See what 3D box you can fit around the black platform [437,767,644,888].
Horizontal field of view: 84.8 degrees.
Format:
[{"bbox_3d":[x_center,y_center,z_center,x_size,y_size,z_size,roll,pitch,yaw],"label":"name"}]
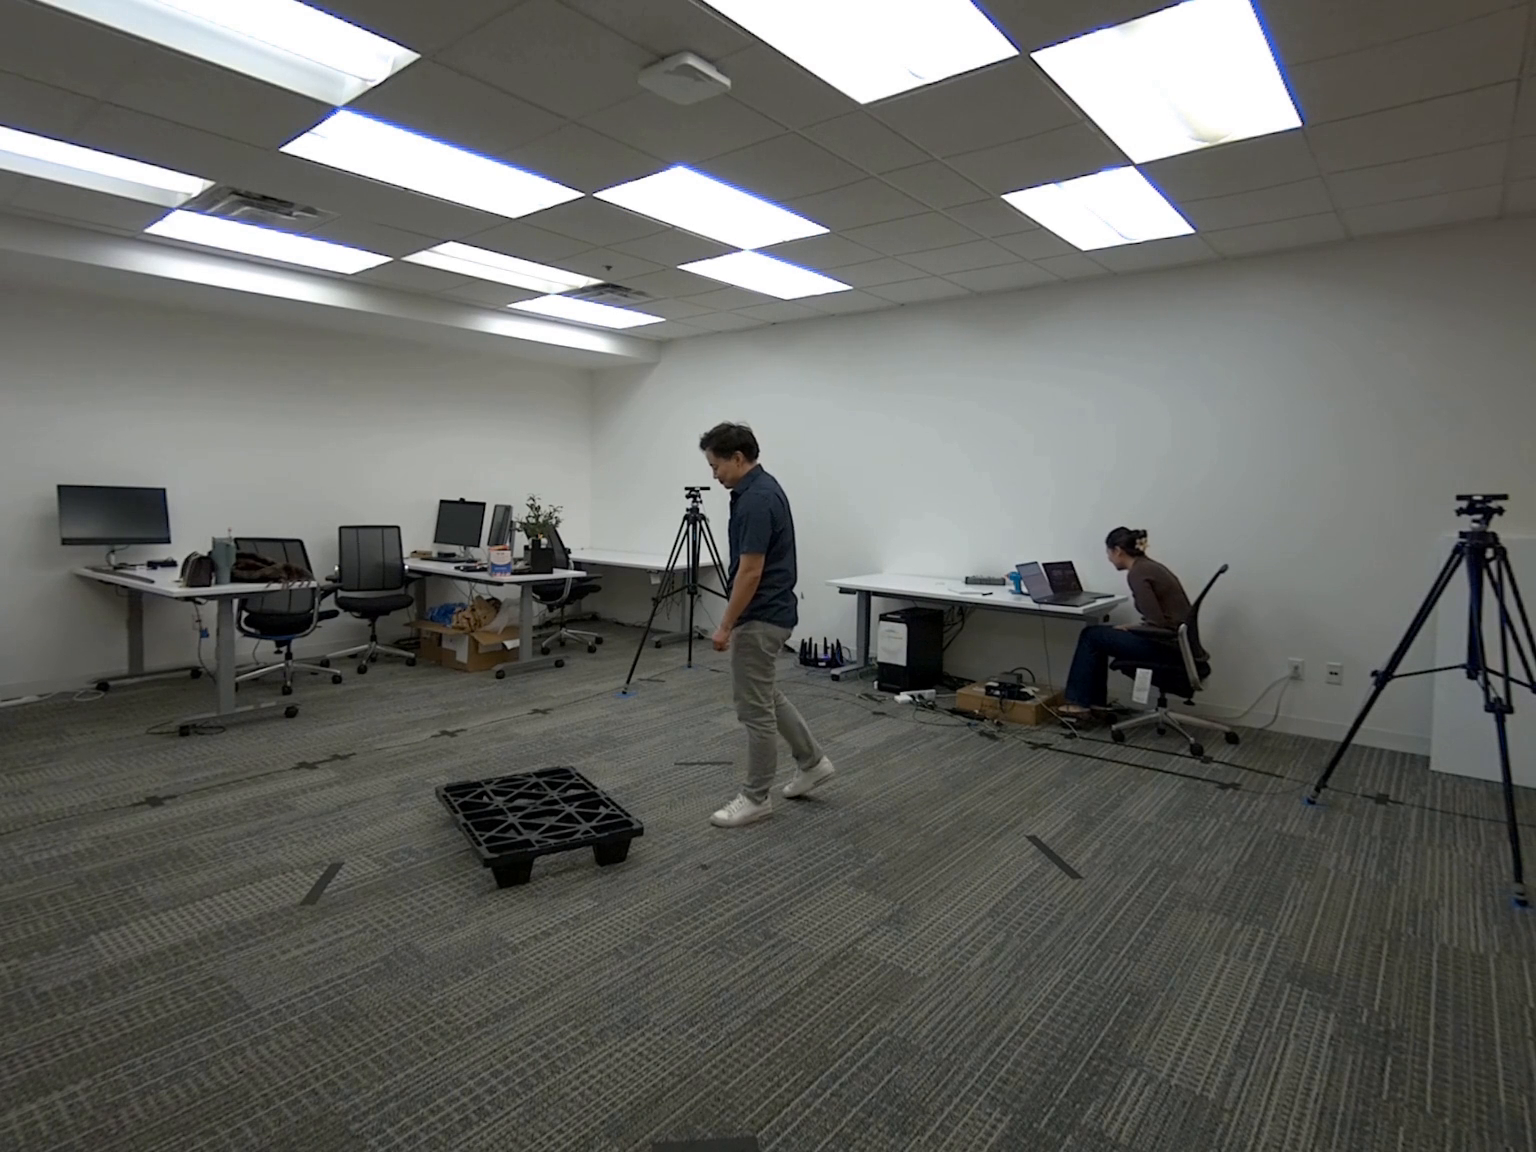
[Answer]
[{"bbox_3d":[-0.936,0.966,3.346,0.589,0.143,0.831,-4,7,-32],"label":"black platform"}]
